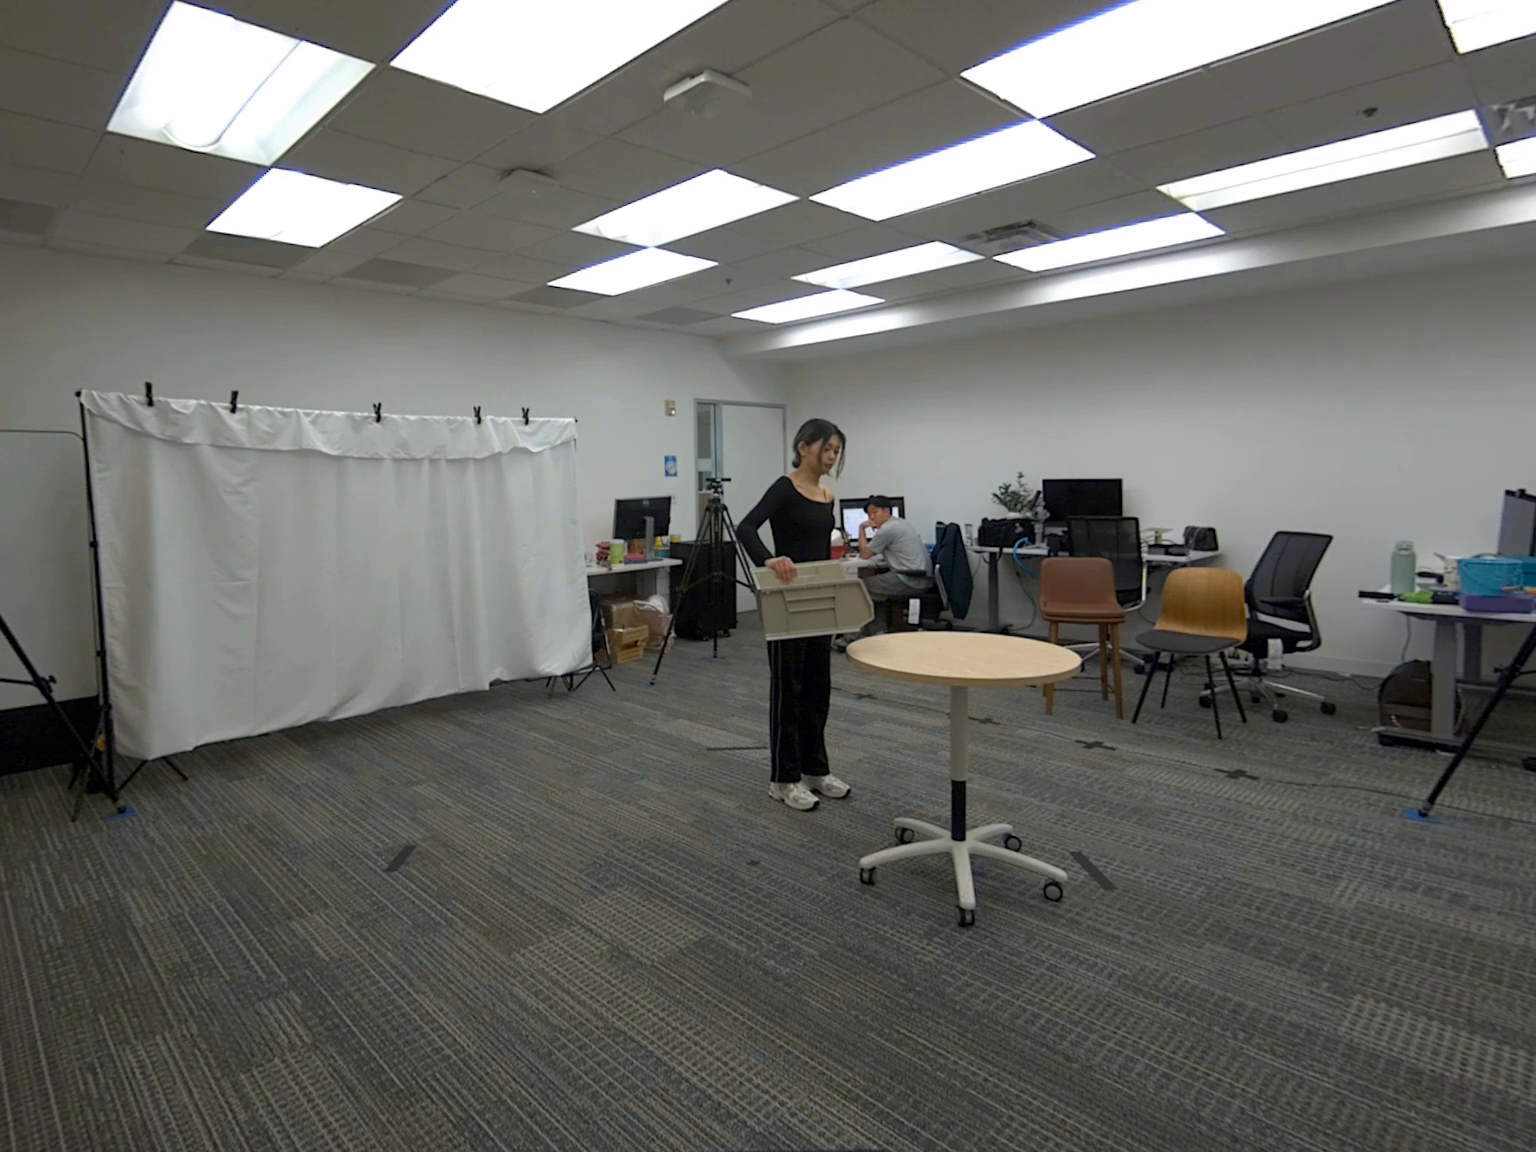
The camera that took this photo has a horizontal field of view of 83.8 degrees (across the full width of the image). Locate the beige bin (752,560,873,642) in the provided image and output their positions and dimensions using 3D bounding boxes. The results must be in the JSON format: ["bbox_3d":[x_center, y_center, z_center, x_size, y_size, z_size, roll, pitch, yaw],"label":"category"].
[{"bbox_3d":[0.152,0.077,3.031,0.377,0.187,0.426,-6,10,-2],"label":"beige bin"}]
